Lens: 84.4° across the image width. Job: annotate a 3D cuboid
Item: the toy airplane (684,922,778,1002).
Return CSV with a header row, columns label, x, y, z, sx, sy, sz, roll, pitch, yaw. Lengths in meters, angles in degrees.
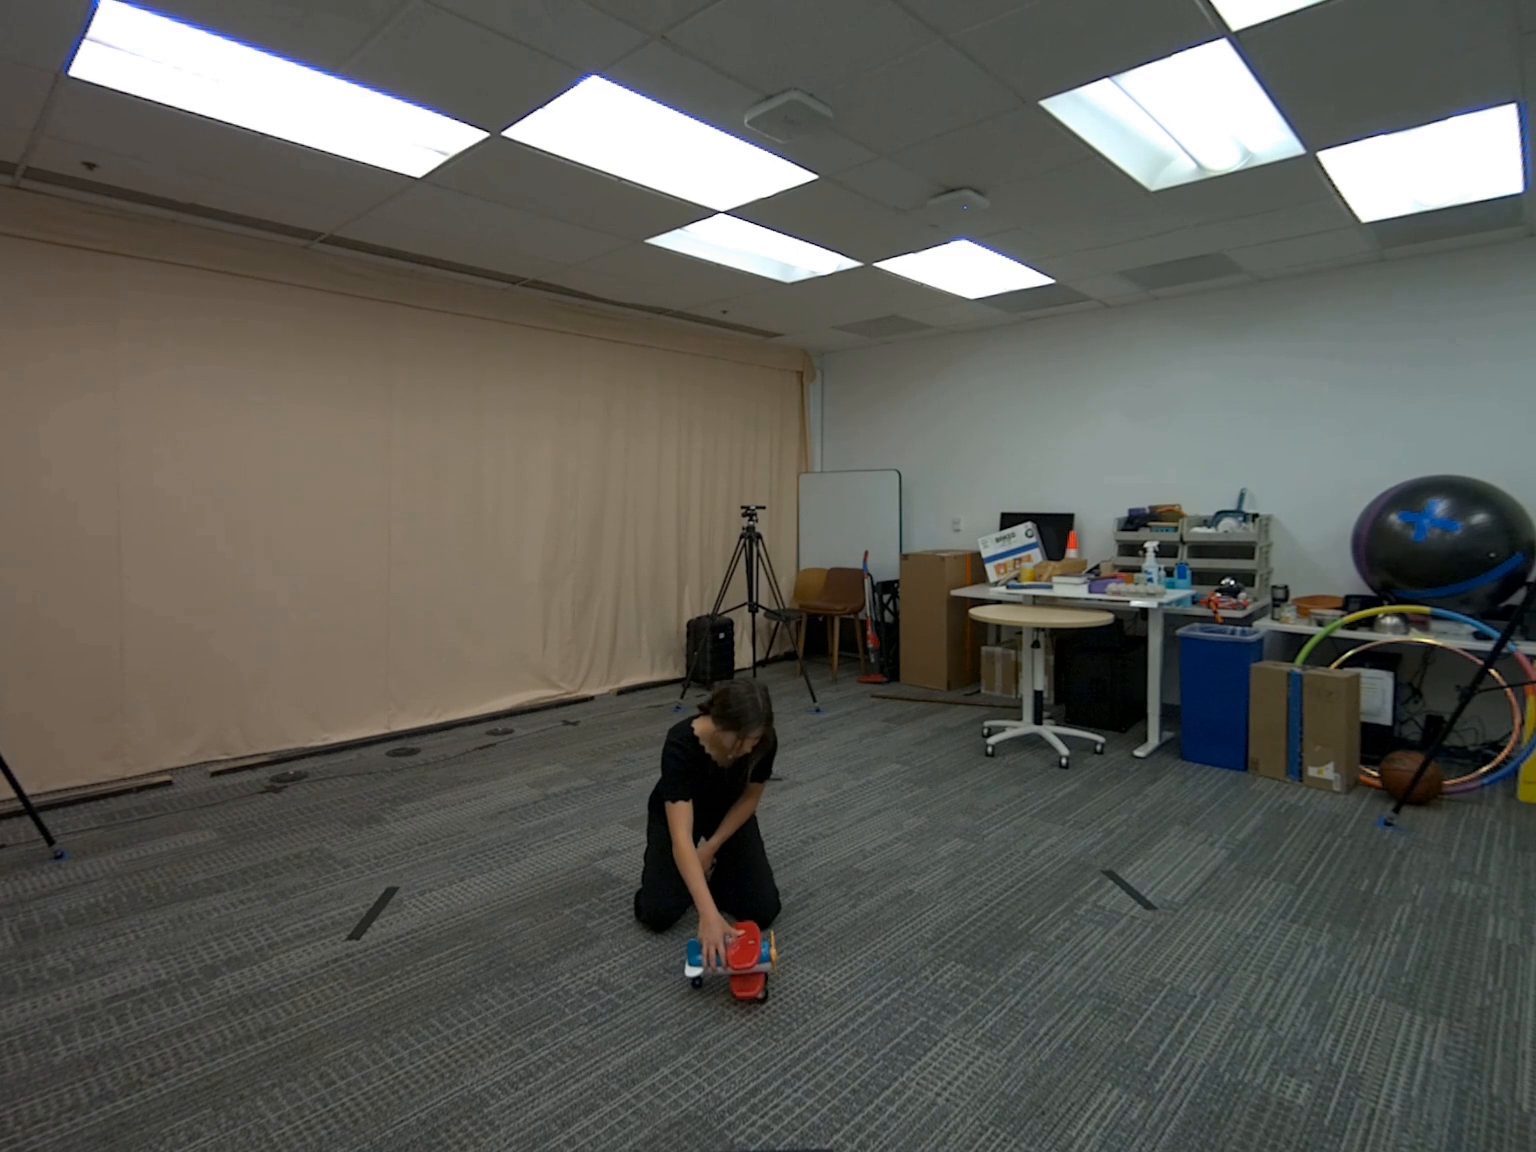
label,x,y,z,sx,sy,sz,roll,pitch,yaw
toy airplane,-0.097,1.110,2.386,0.252,0.156,0.258,4,5,-26
